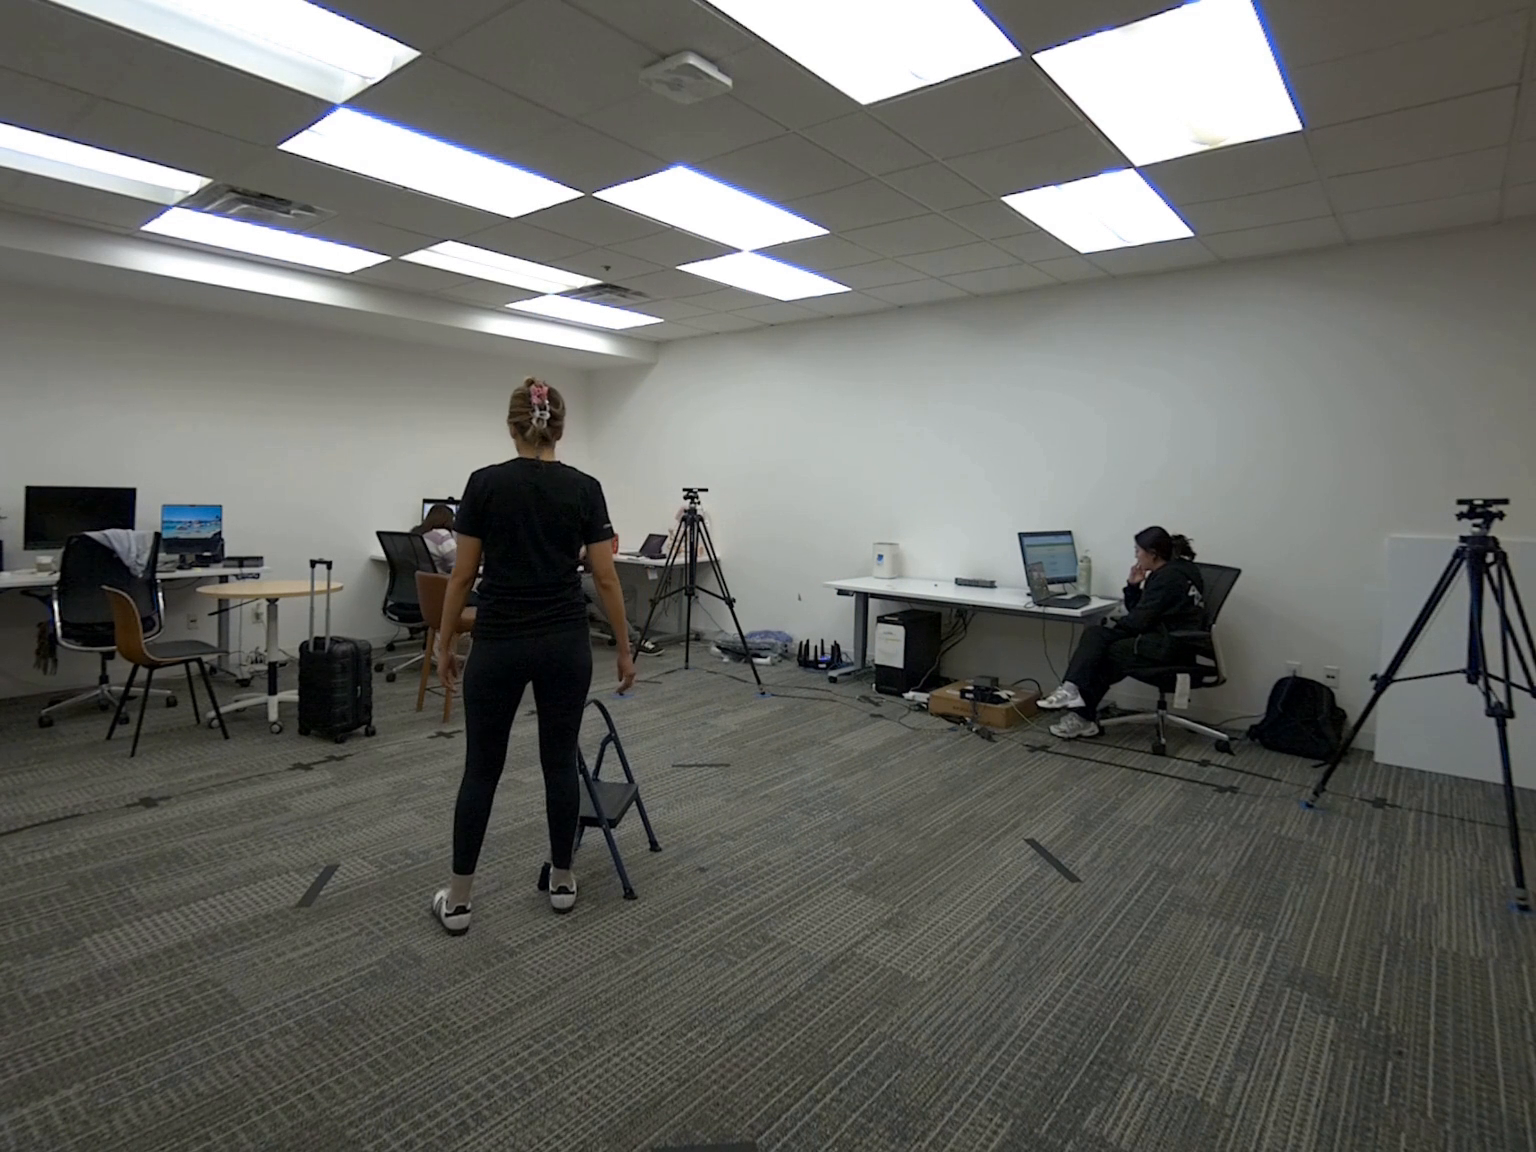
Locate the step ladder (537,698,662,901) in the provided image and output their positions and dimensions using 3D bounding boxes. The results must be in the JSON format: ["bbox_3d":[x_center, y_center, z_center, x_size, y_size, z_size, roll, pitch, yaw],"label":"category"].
[{"bbox_3d":[-0.606,0.762,3.085,0.352,0.604,0.429,2,4,6],"label":"step ladder"}]
